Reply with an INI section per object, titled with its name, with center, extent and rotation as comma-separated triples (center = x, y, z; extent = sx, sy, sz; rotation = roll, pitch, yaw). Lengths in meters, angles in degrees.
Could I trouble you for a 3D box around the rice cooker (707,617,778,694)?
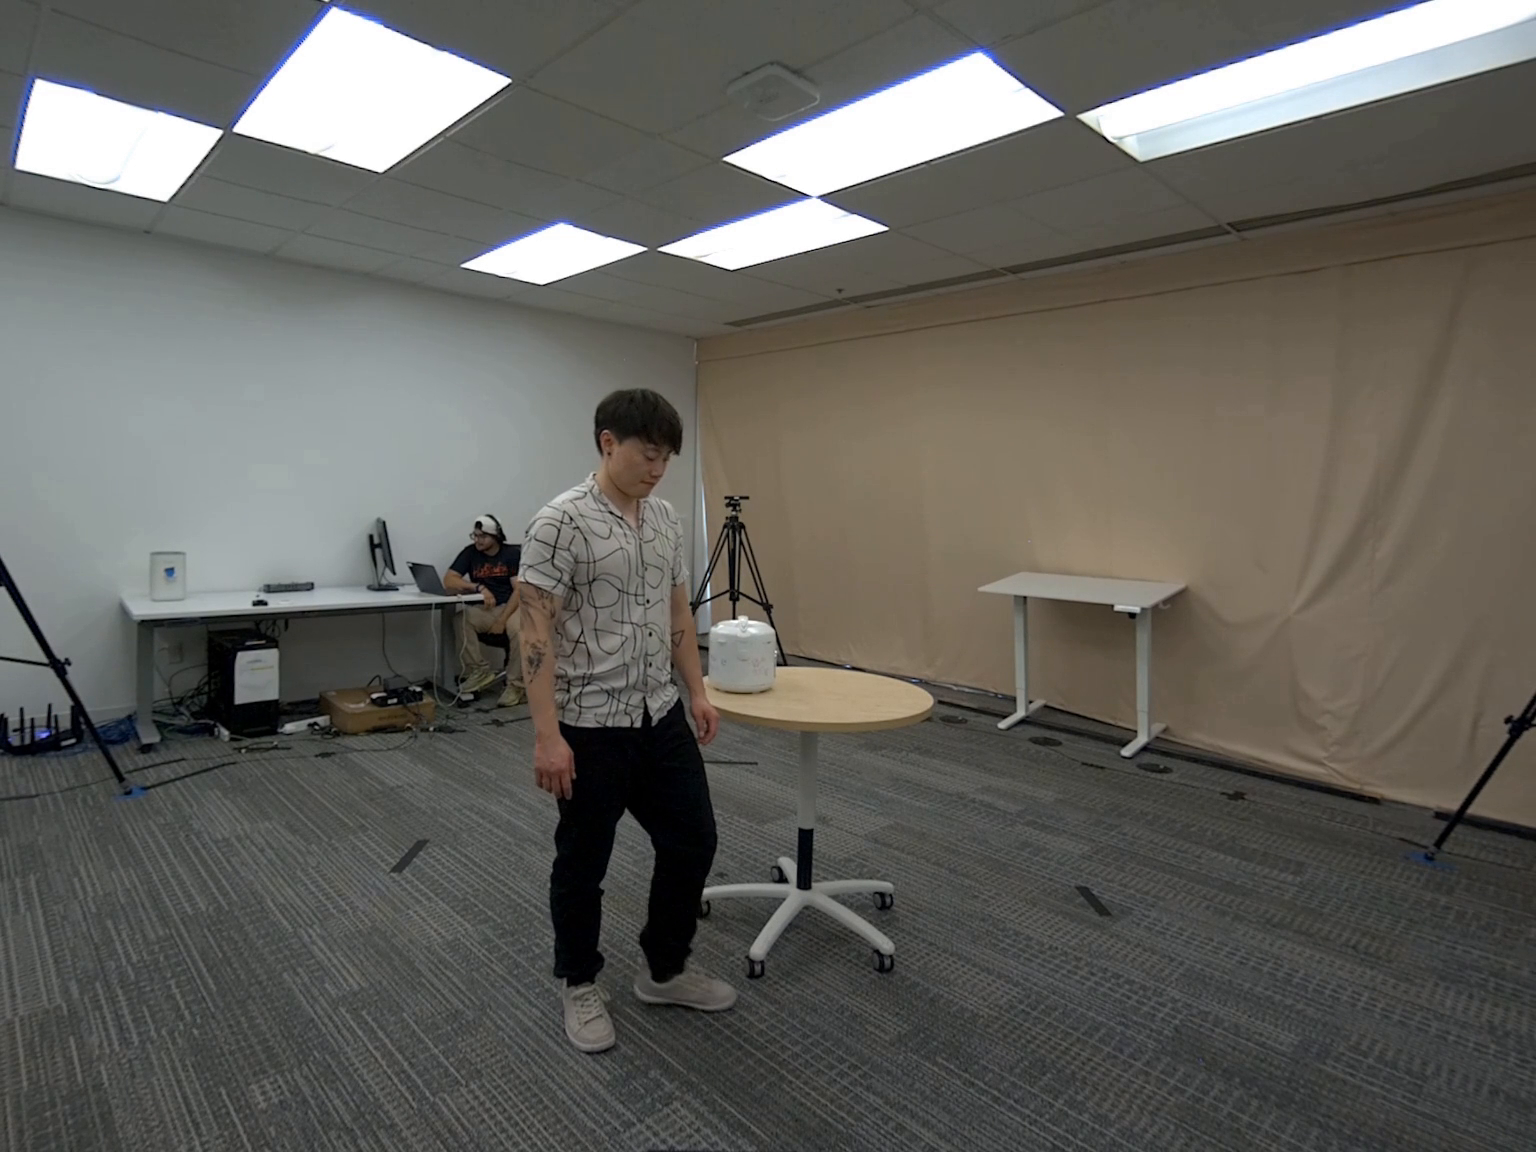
[rice cooker]
center = -0.082, 0.243, 2.686
extent = 0.217, 0.232, 0.221
rotation = 1, 4, -2
